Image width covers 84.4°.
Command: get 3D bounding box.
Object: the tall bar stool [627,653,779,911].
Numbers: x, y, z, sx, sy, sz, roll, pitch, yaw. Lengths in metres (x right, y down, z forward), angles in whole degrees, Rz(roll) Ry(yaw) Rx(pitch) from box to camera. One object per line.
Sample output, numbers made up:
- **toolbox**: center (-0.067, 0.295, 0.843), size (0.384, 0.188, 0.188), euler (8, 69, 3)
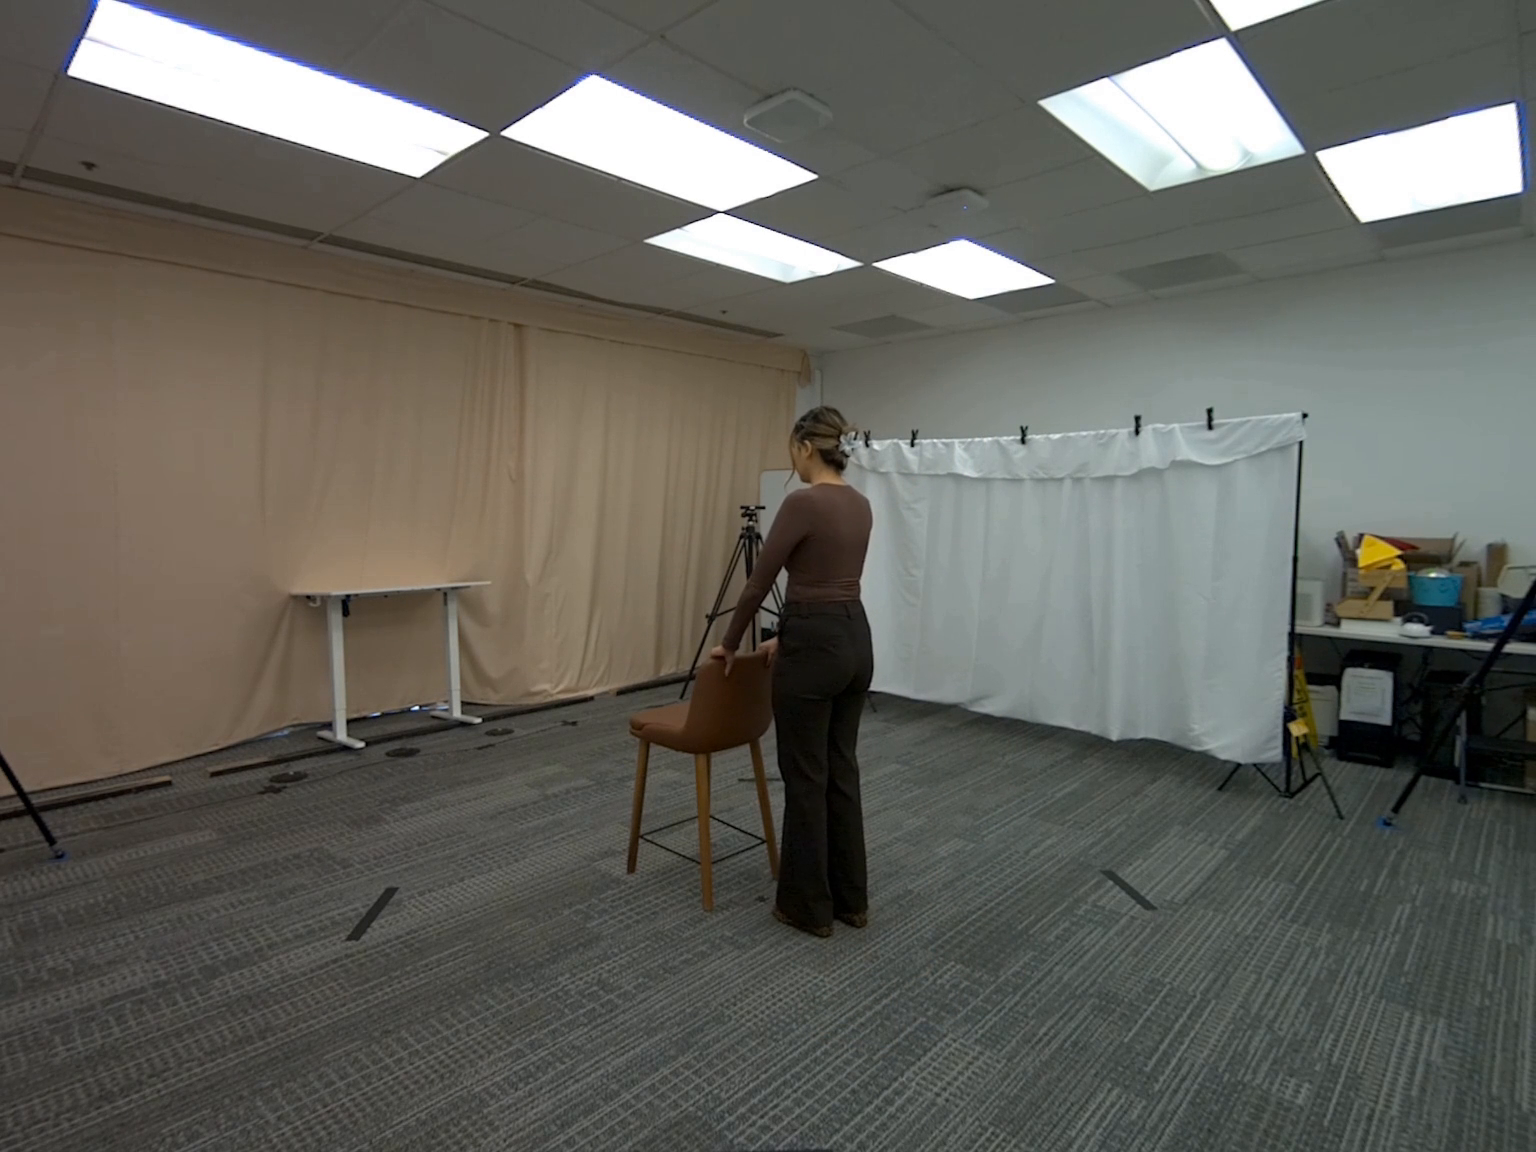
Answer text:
- **tall bar stool**: center (-0.235, 0.694, 3.152), size (0.442, 0.887, 0.483), euler (-3, 6, -44)
